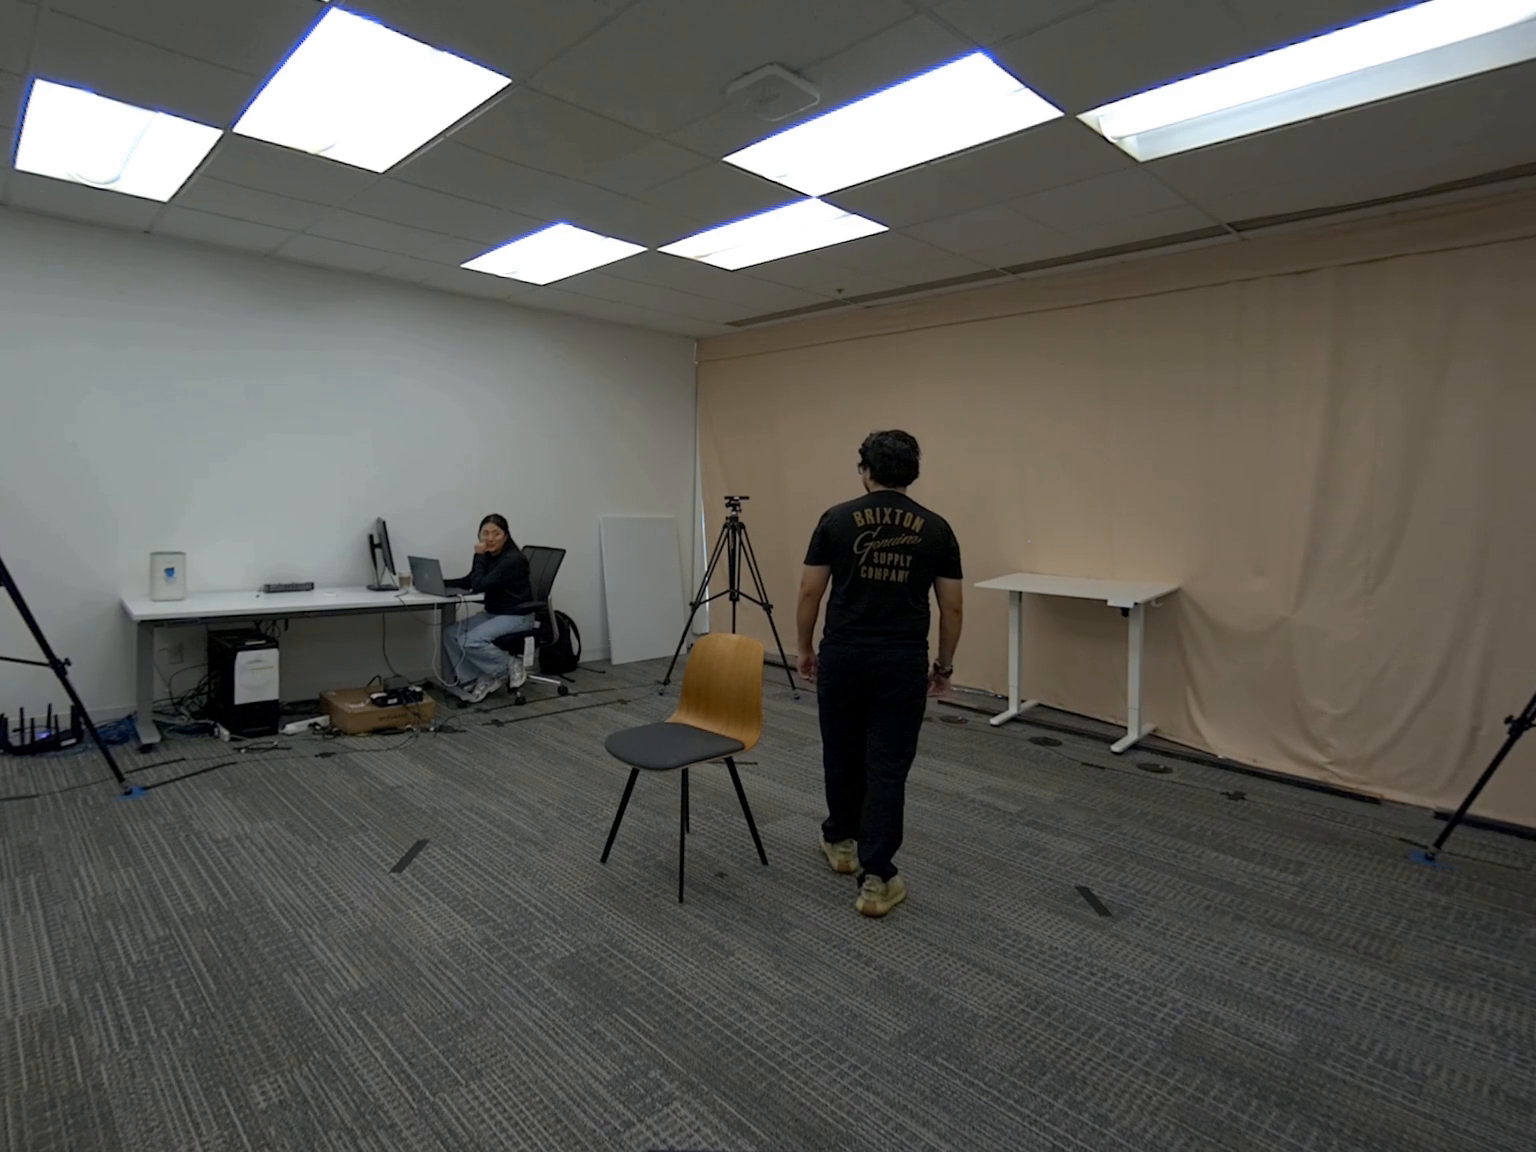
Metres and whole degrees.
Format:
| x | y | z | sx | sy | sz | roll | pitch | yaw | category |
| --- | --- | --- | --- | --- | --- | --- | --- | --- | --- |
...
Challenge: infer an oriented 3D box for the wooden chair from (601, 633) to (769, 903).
| x | y | z | sx | sy | sz | roll | pitch | yaw | category |
| --- | --- | --- | --- | --- | --- | --- | --- | --- | --- |
| -0.321 | 0.670 | 3.160 | 0.490 | 0.877 | 0.510 | 4 | 0 | 42 | wooden chair |
